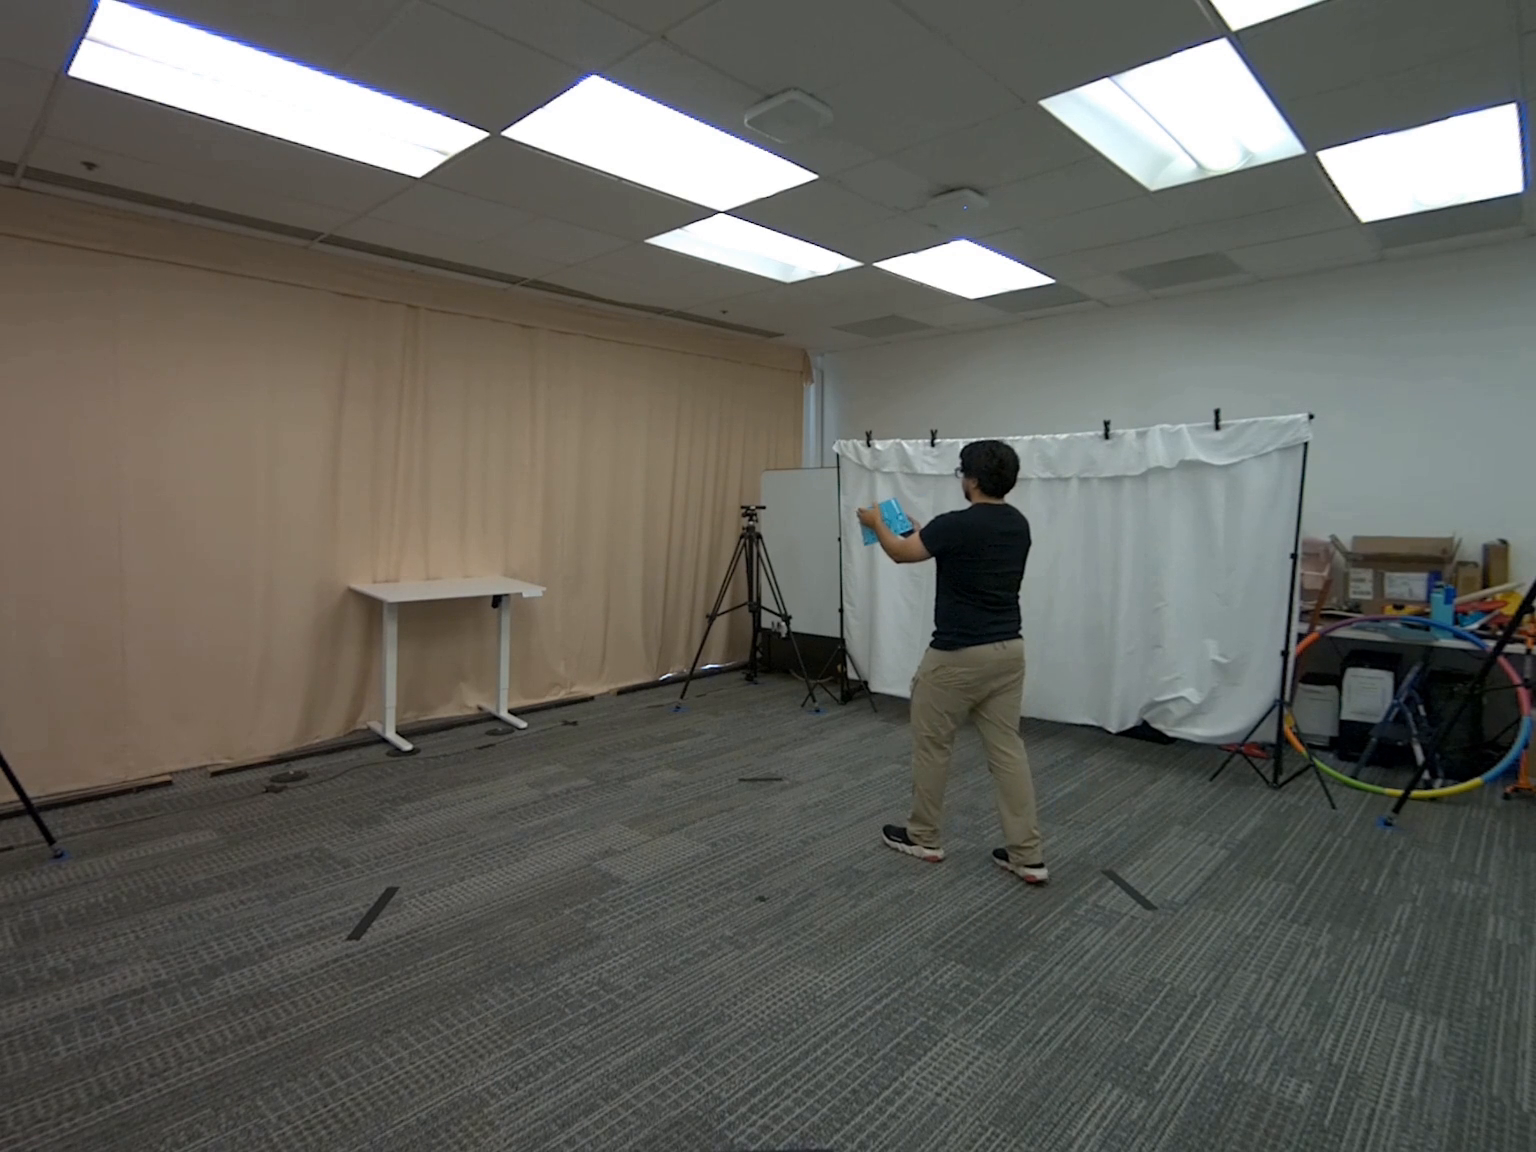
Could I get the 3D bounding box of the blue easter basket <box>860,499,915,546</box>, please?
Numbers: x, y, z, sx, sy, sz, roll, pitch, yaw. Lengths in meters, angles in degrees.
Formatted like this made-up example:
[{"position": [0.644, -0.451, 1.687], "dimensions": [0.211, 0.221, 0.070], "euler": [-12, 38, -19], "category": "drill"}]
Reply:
[{"position": [0.515, -0.245, 3.713], "dimensions": [0.243, 0.155, 0.244], "euler": [-20, 3, -1], "category": "blue easter basket"}]
